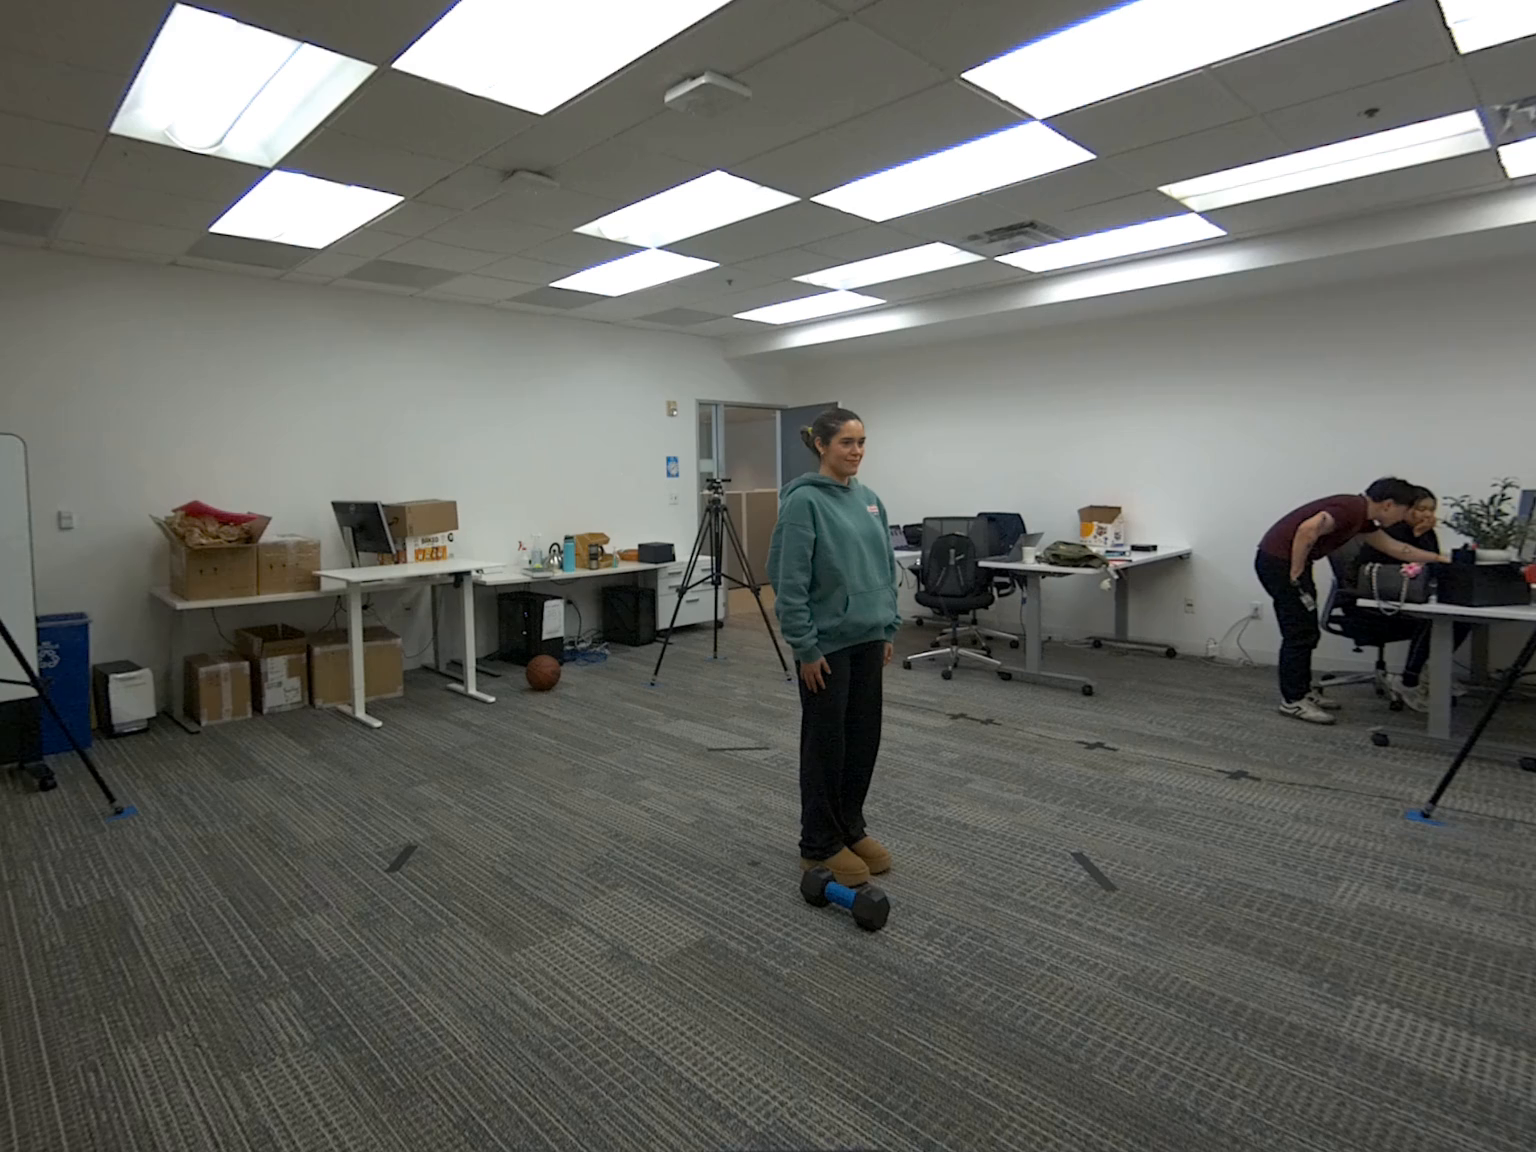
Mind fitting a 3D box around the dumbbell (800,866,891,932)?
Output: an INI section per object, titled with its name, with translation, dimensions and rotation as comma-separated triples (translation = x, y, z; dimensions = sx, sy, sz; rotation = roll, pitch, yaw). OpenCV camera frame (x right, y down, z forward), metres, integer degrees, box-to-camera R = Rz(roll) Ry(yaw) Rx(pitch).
[dumbbell]
translation = 0.246, 1.032, 2.735
dimensions = 0.303, 0.119, 0.108
rotation = 5, 38, 45
